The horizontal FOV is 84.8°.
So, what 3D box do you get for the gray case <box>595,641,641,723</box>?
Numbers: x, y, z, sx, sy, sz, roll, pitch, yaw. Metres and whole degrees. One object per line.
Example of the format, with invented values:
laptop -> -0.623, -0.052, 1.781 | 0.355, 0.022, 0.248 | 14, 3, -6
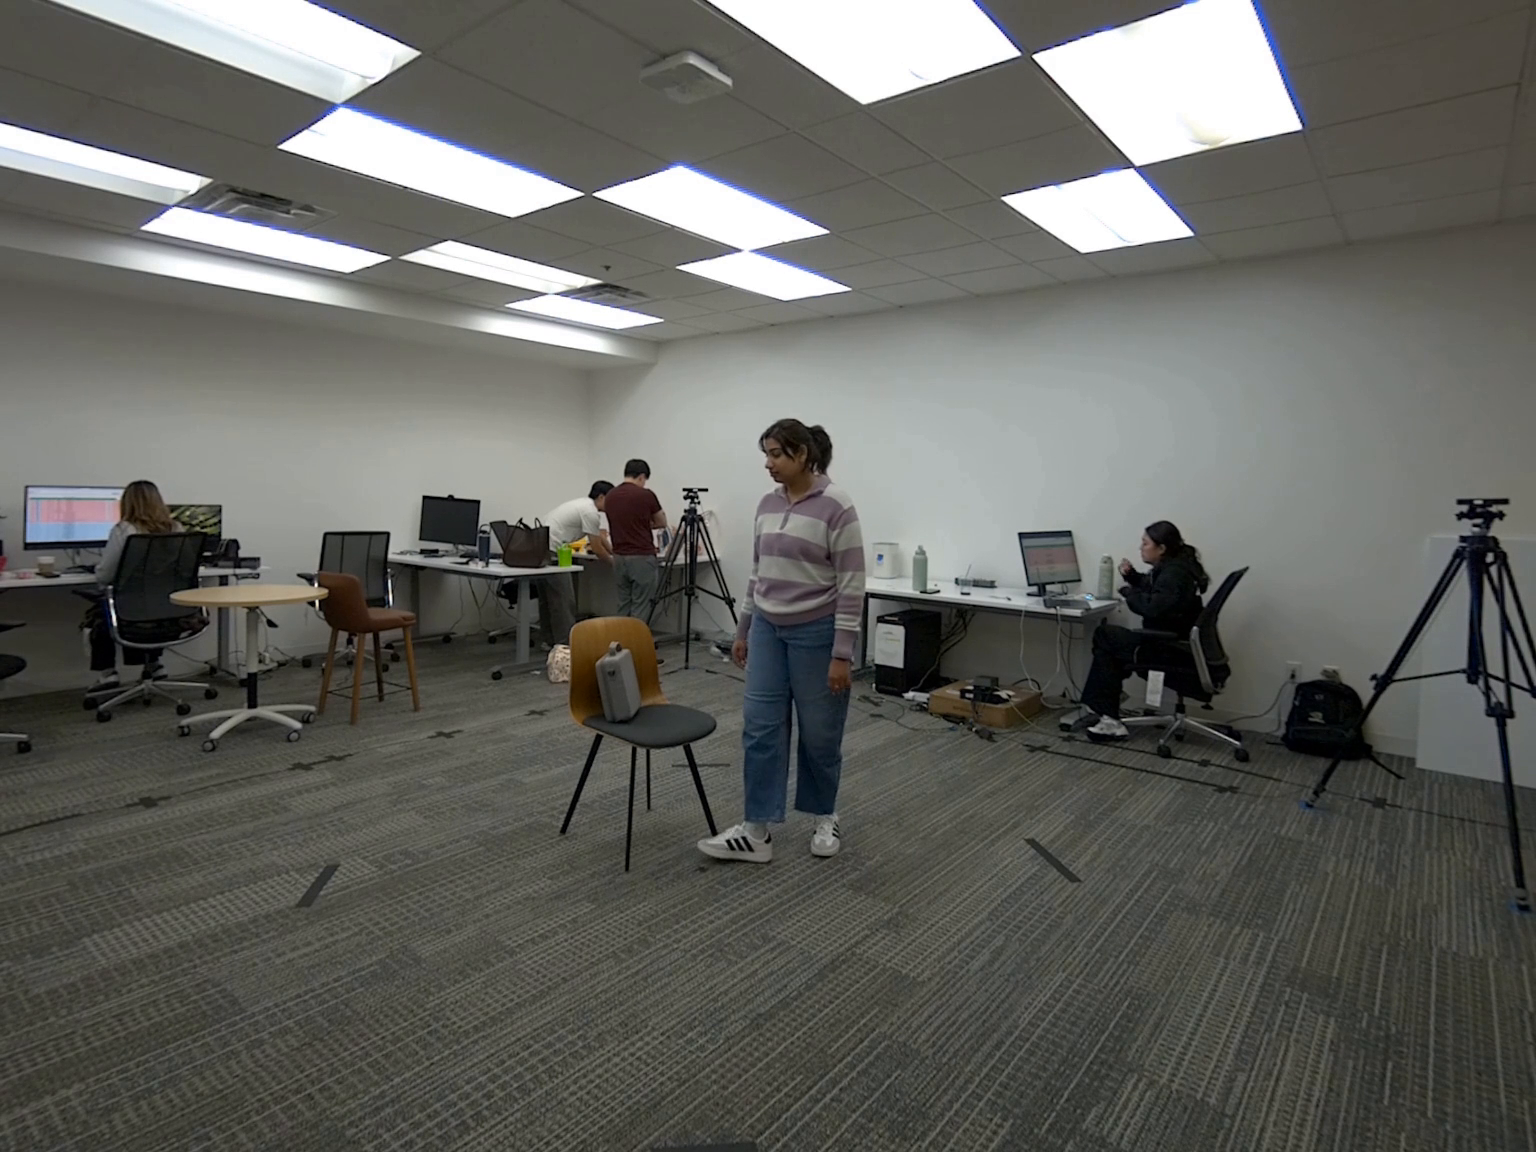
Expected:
gray case -> -0.616, 0.430, 3.413 | 0.105, 0.260, 0.256 | -10, 3, 4
